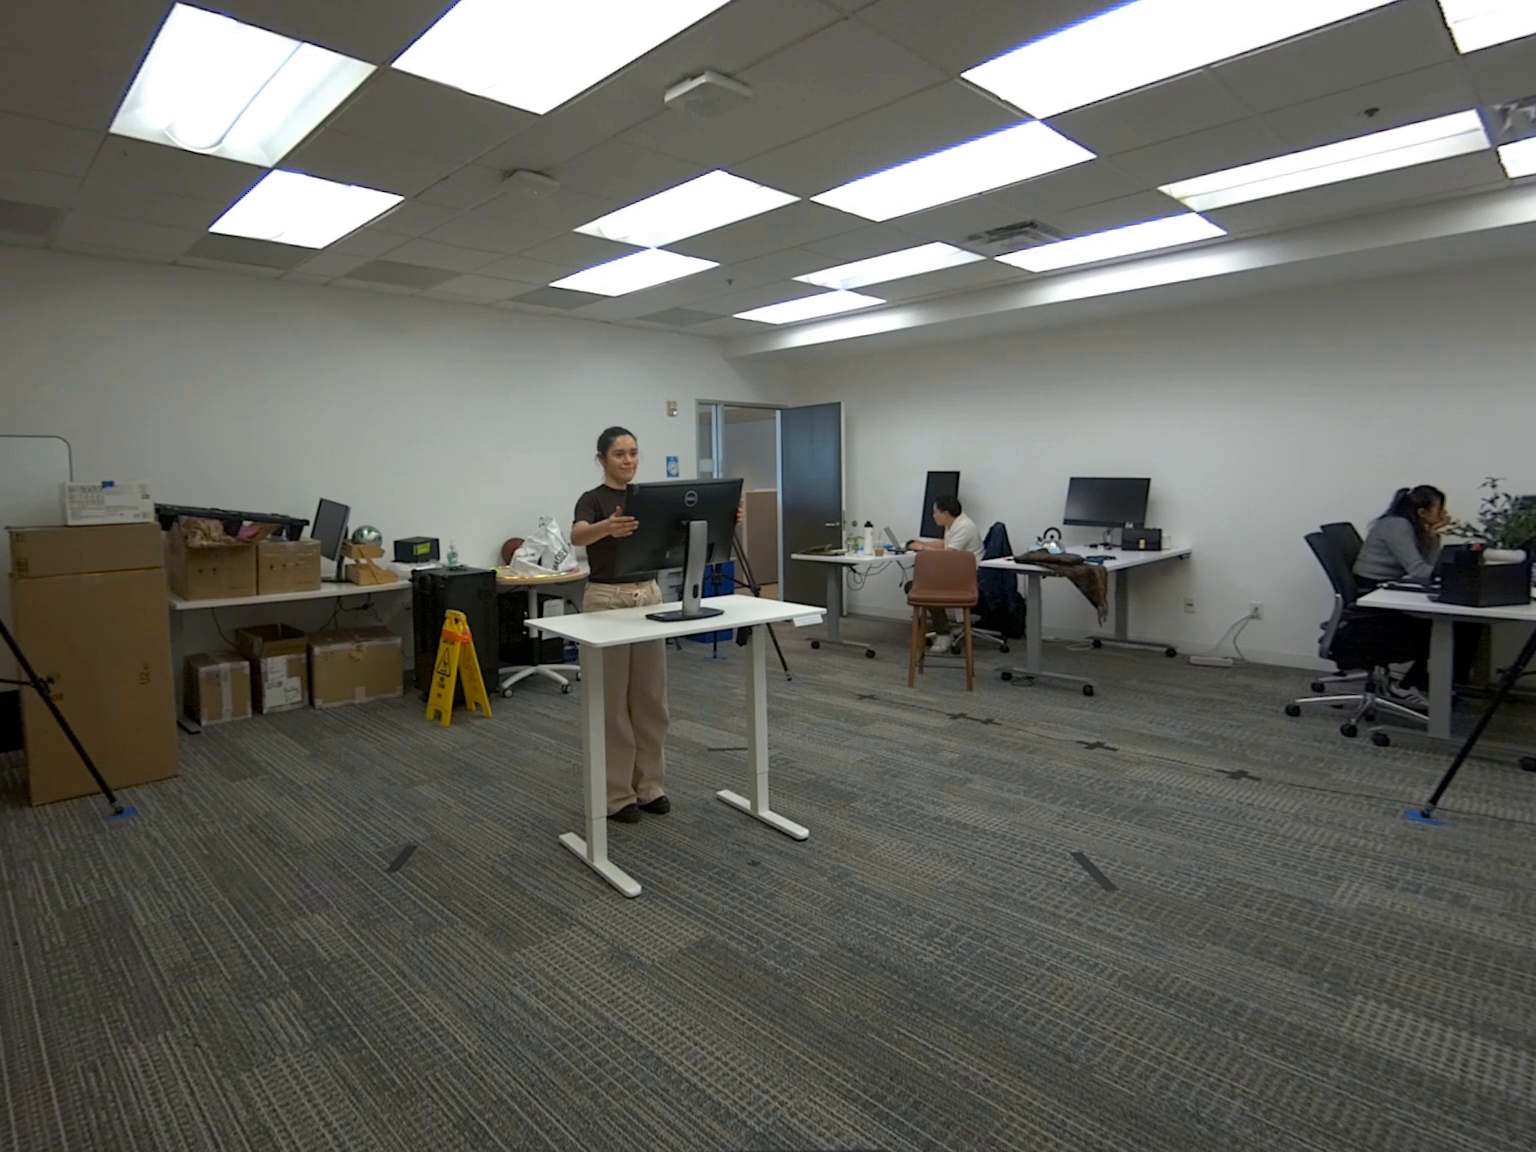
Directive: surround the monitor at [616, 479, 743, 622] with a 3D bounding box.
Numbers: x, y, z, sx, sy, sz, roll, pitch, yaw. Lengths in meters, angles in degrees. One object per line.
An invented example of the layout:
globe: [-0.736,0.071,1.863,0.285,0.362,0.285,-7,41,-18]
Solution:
monitor: [-0.305,-0.098,3.204,0.525,0.519,0.193,-8,11,-43]
